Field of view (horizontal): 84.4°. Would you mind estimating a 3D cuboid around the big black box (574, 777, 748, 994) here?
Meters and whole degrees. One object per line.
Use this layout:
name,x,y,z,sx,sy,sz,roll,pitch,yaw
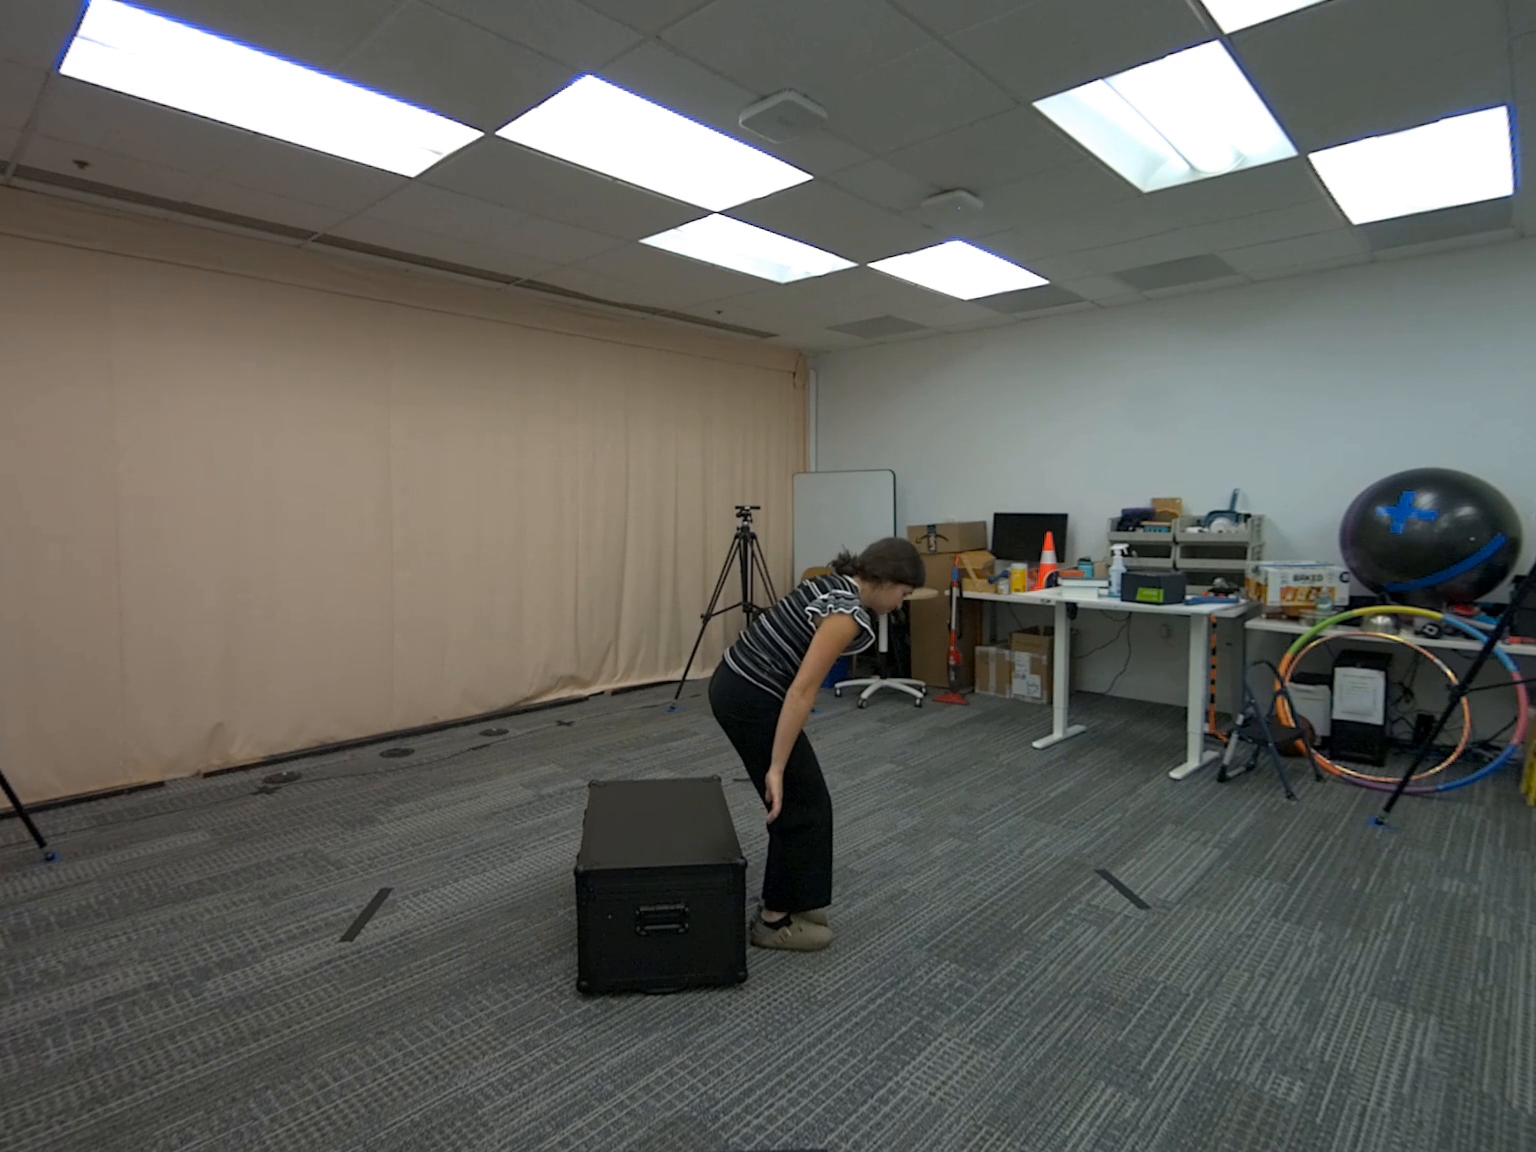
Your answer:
big black box,-0.358,0.968,2.804,0.517,0.395,0.871,0,5,-9
